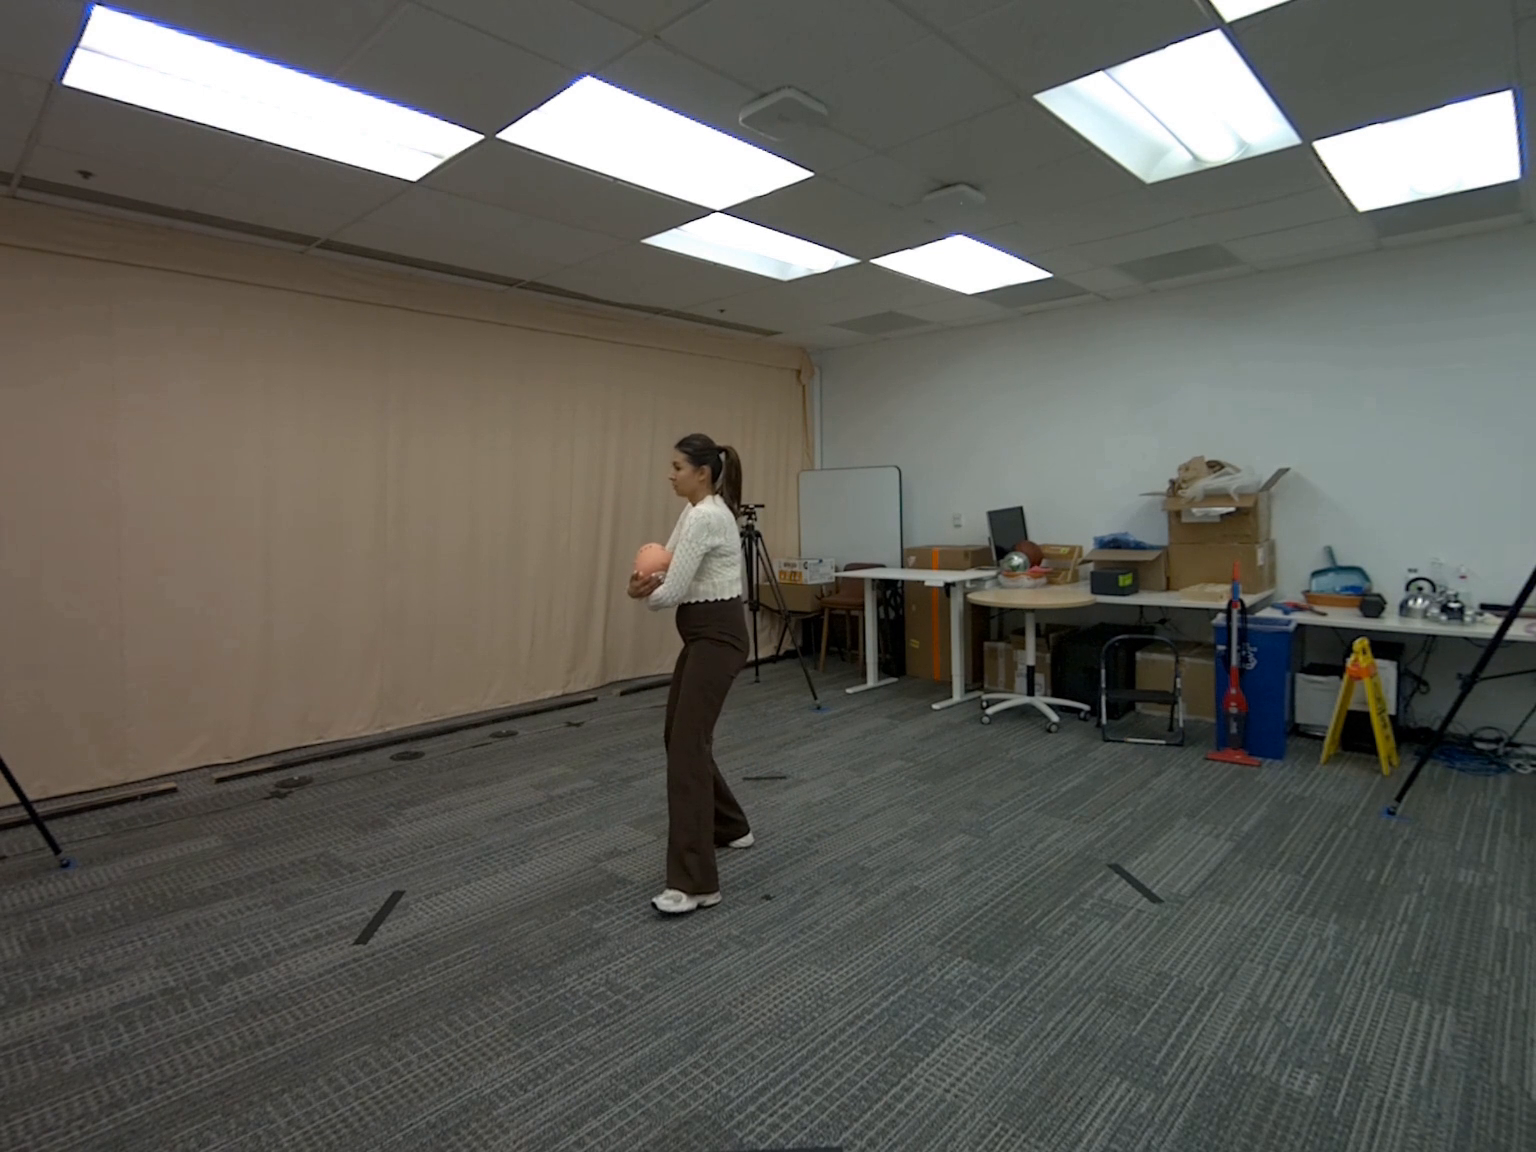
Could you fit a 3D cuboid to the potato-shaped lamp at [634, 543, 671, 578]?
[{"bbox_3d":[-0.440,-0.051,3.273,0.165,0.166,0.204,-26,44,2],"label":"potato-shaped lamp"}]
